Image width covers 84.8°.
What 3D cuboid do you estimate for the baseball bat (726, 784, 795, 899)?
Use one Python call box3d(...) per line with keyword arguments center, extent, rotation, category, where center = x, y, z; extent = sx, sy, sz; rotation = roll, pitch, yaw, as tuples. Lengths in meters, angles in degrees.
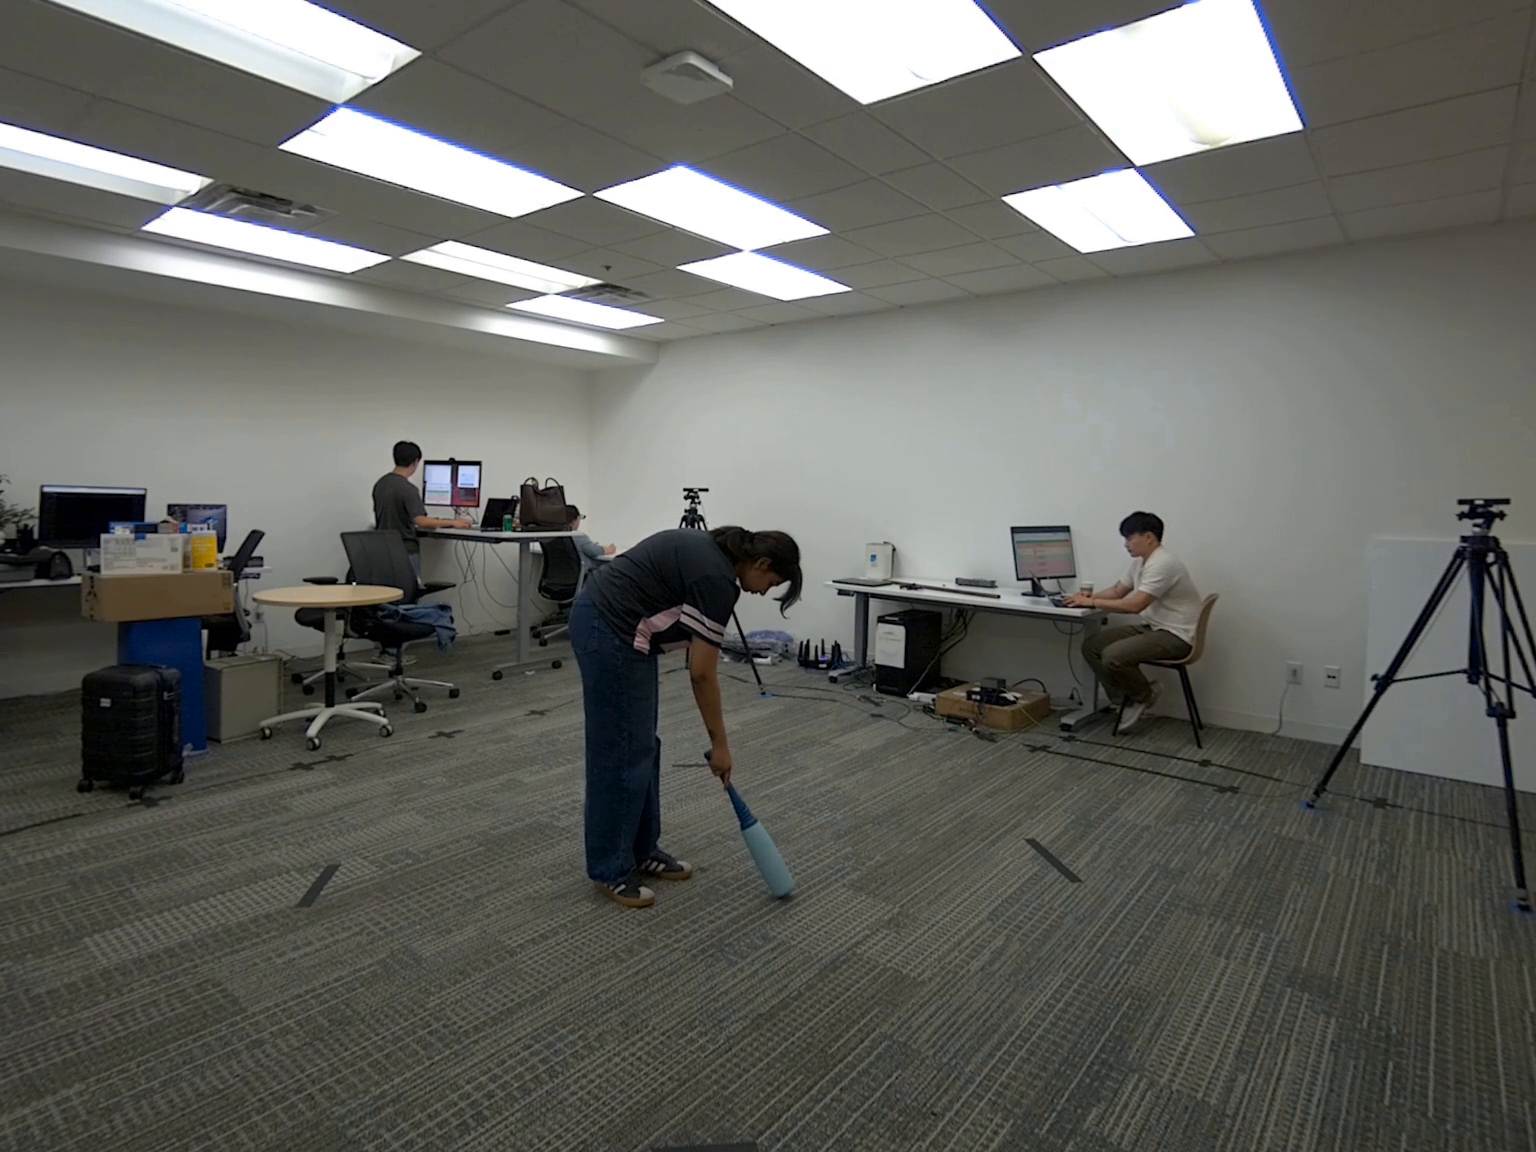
box3d(center=(-0.087, 0.854, 2.946), extent=(0.089, 0.549, 0.088), rotation=(-30, -8, -6), category="baseball bat")
